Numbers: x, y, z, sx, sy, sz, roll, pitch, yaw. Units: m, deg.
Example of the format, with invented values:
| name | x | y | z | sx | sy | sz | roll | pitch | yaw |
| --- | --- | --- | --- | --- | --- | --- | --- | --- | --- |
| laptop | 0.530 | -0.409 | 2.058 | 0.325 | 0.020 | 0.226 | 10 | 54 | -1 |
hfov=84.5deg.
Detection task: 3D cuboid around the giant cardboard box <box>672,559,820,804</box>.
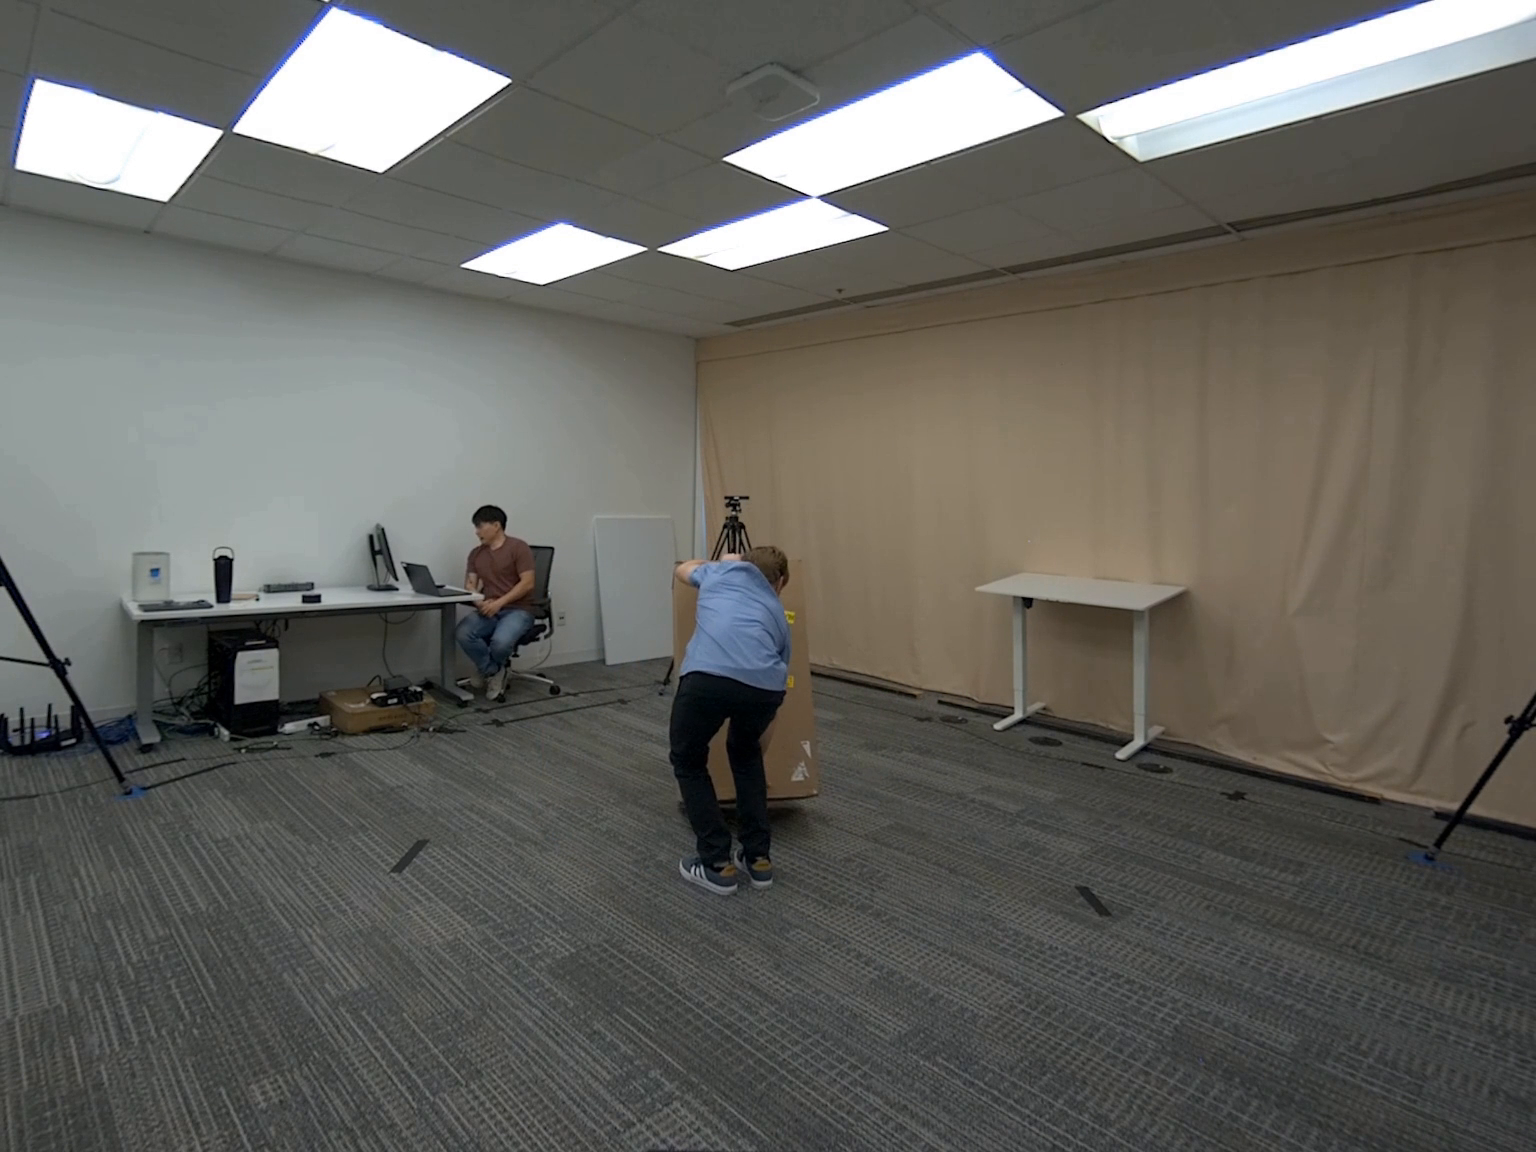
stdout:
| name | x | y | z | sx | sy | sz | roll | pitch | yaw |
| --- | --- | --- | --- | --- | --- | --- | --- | --- | --- |
| giant cardboard box | -0.132 | 0.470 | 3.767 | 0.581 | 1.041 | 0.442 | -1 | -18 | -6 |
